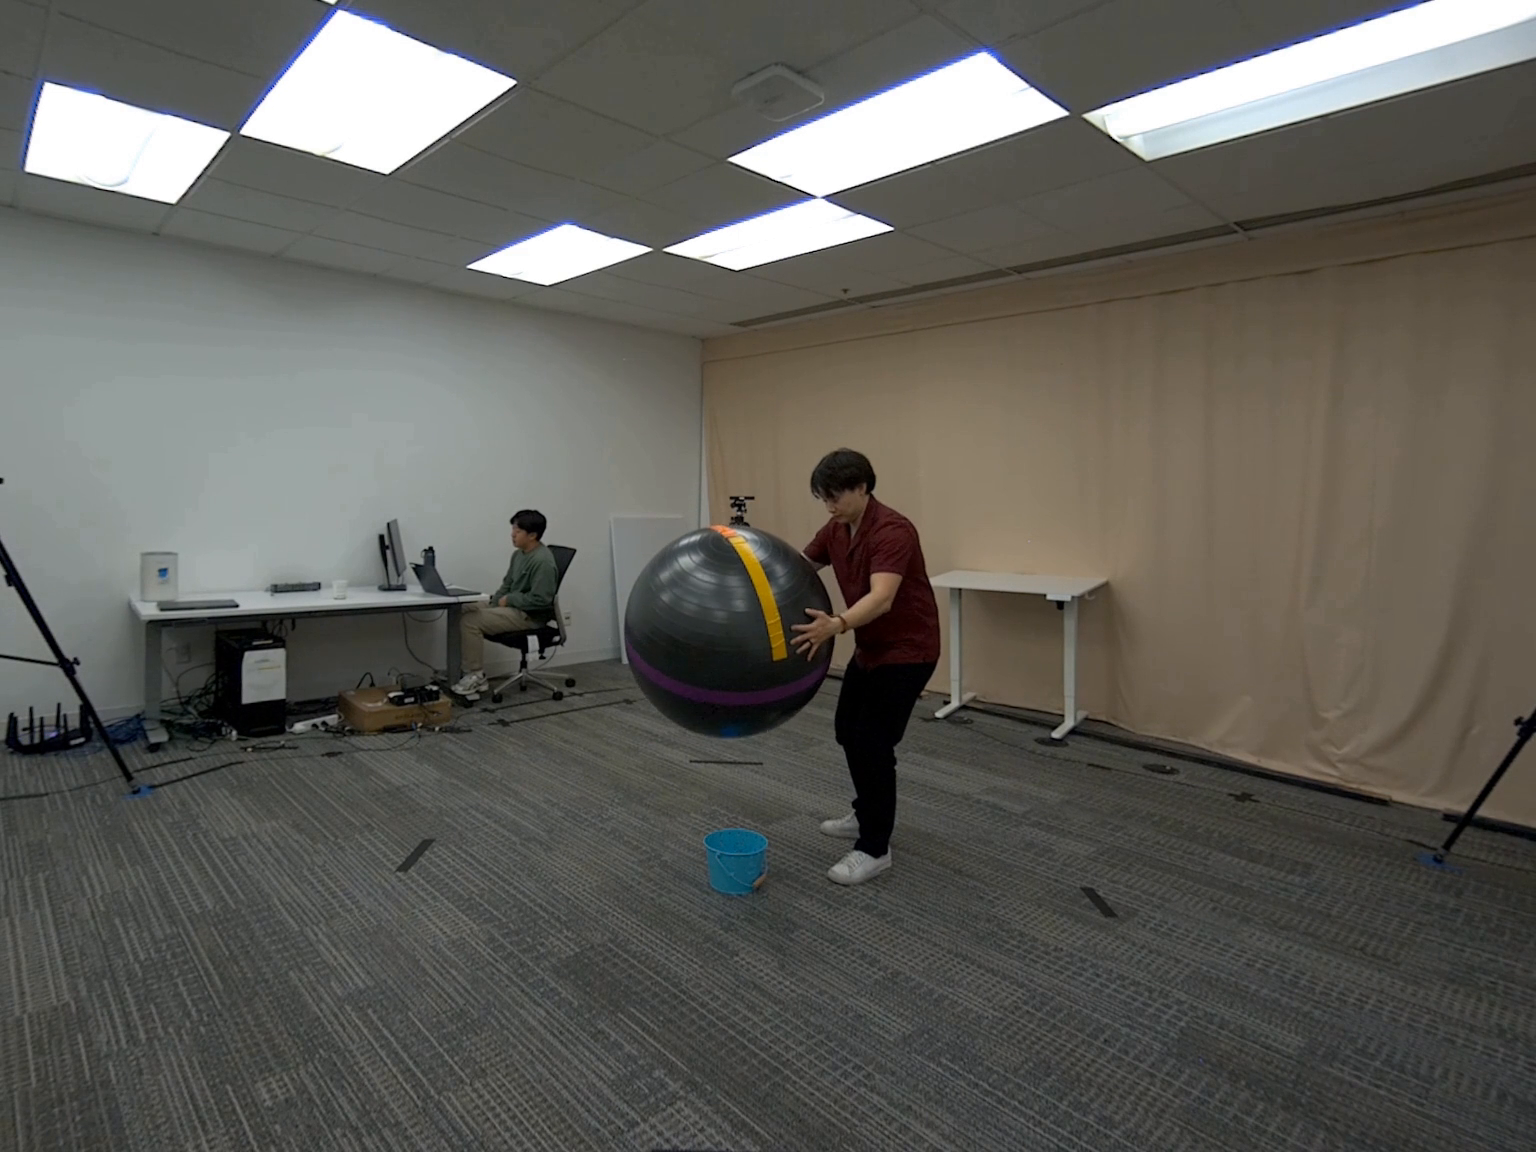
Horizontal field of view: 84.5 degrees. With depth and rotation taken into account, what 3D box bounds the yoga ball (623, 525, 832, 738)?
[{"bbox_3d":[-0.145,0.200,3.032,0.757,0.756,0.761,1,4,-1],"label":"yoga ball"}]
